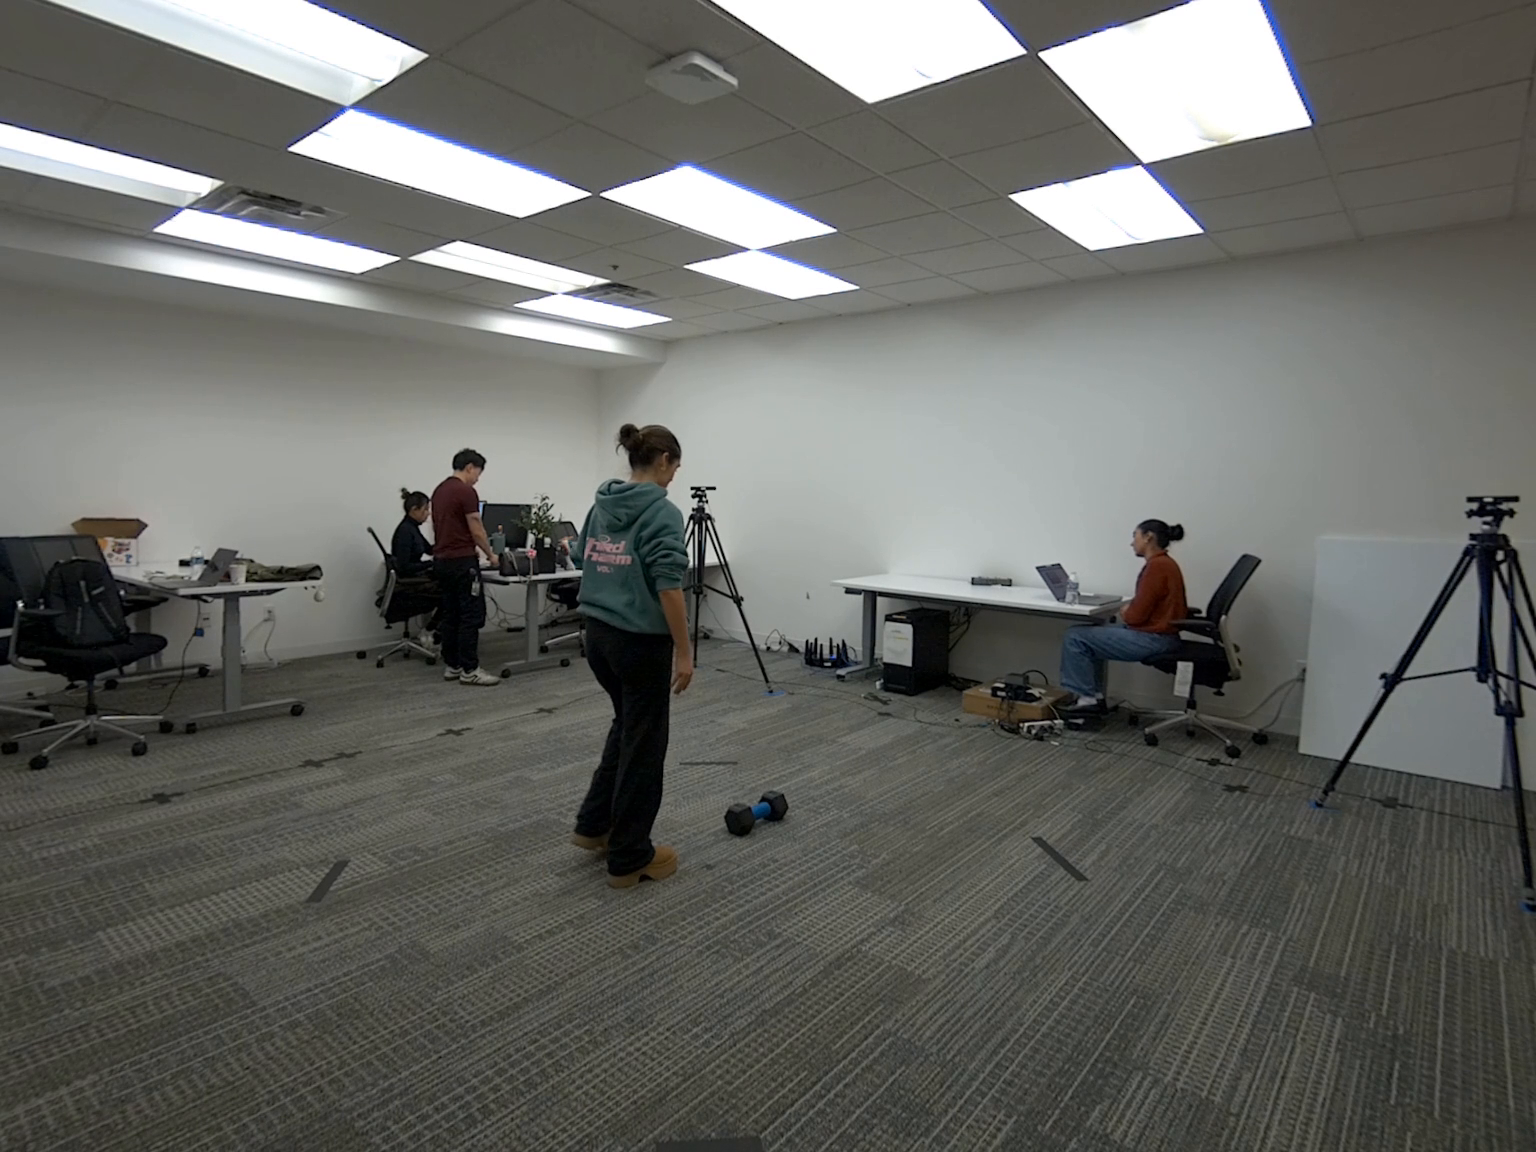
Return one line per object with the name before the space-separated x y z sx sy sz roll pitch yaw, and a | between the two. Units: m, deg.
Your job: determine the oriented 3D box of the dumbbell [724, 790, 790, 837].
dumbbell | -0.057 0.973 3.515 0.127 0.108 0.285 4 7 42
